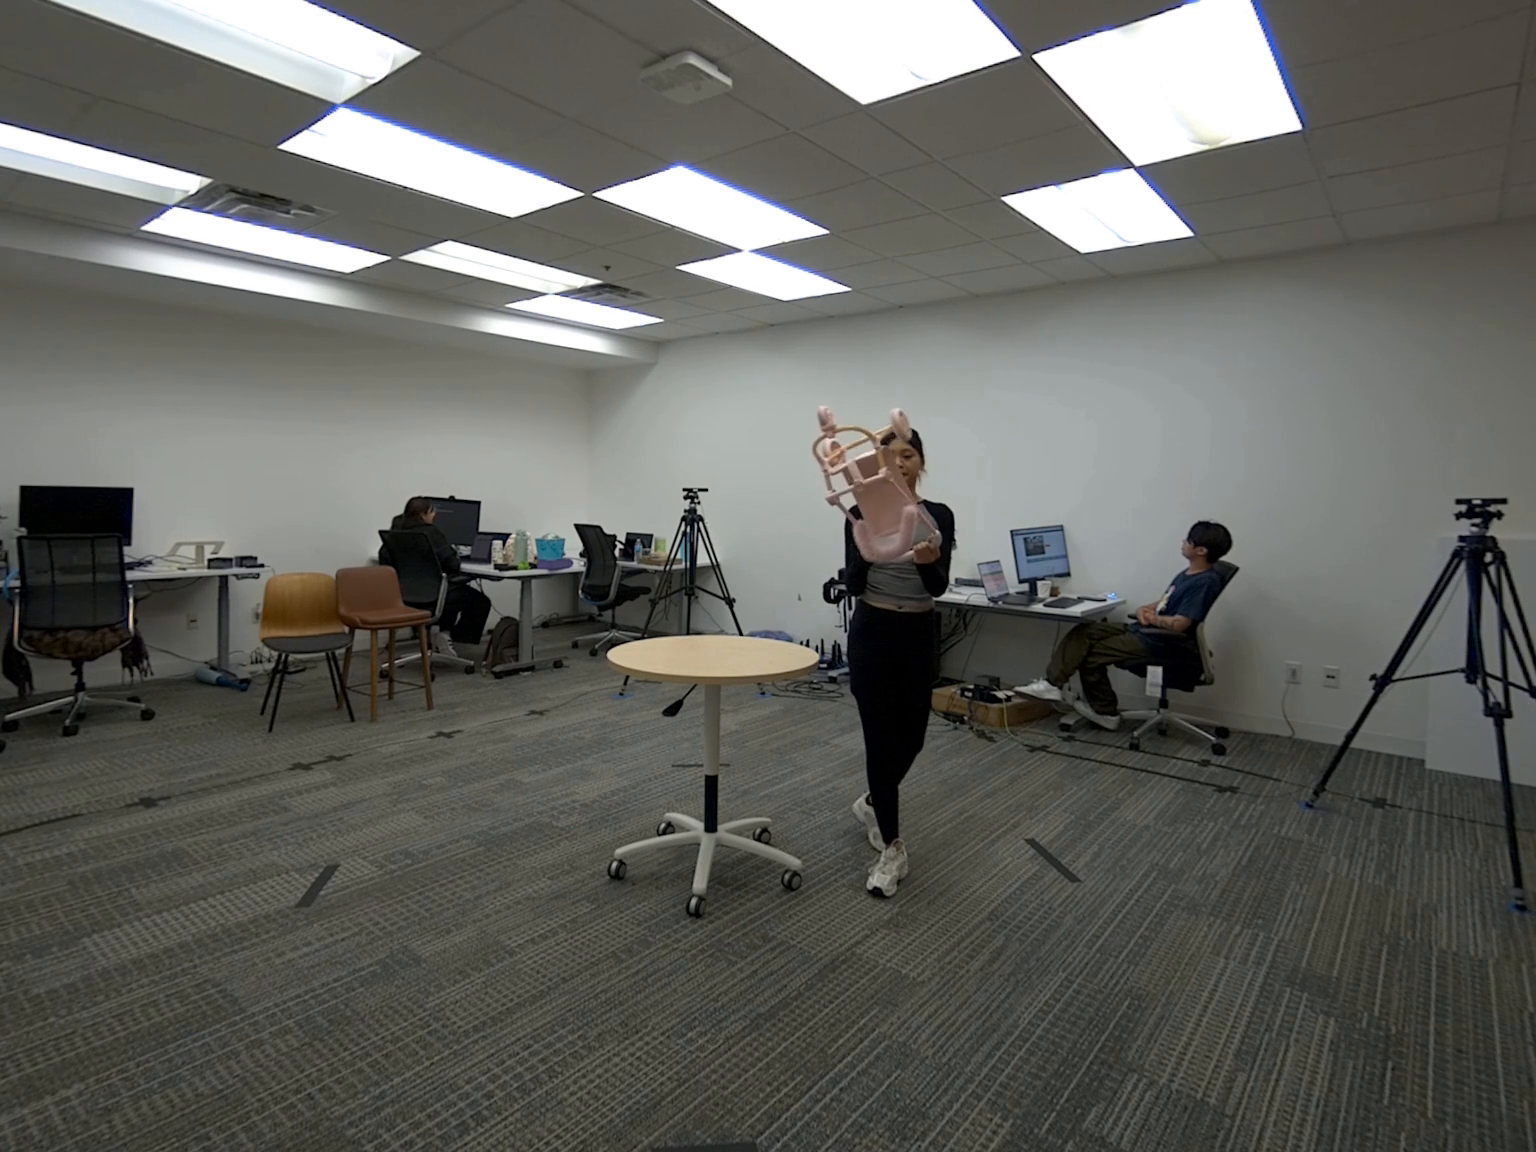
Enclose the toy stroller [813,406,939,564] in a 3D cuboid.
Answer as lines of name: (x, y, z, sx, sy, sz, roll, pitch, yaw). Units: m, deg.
toy stroller: (0.316, -0.277, 2.635, 0.286, 0.537, 0.334, -21, -3, 28)
